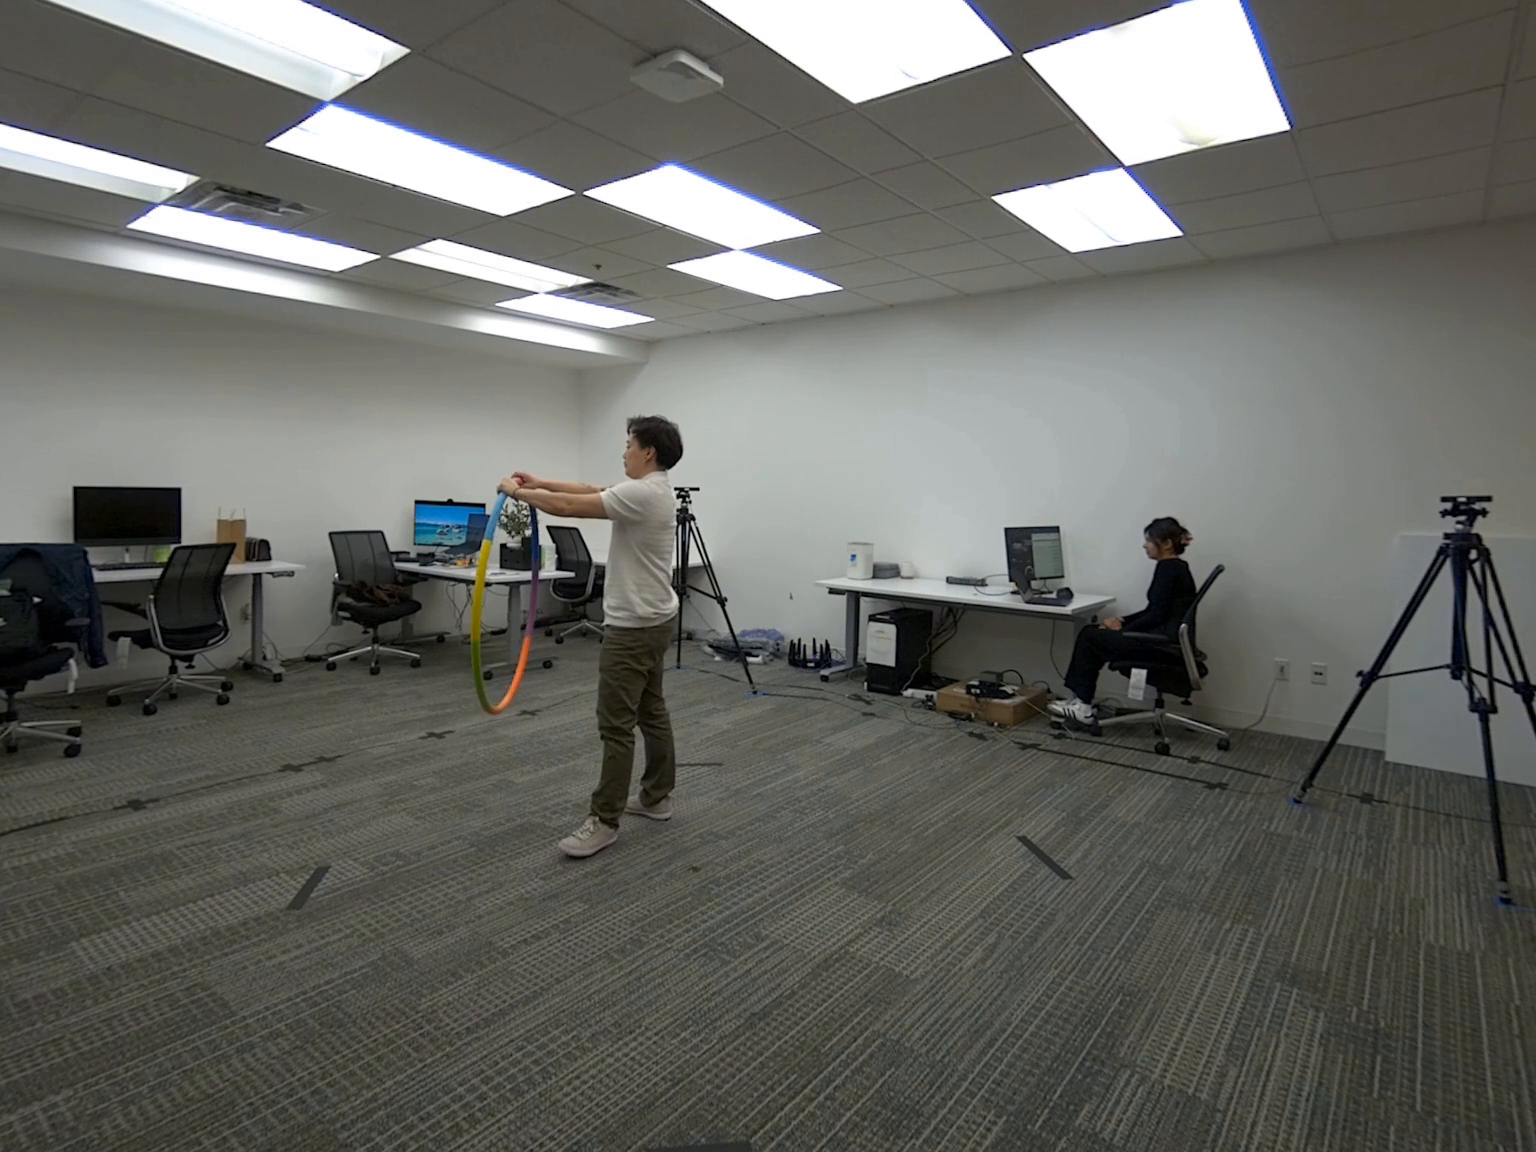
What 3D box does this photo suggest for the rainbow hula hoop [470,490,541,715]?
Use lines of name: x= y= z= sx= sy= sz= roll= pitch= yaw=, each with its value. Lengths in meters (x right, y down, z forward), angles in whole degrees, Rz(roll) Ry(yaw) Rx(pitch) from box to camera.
rainbow hula hoop: x=-1.102 y=0.082 z=3.587 sx=0.035 sy=0.976 sz=0.982 roll=4 pitch=4 yaw=-3
